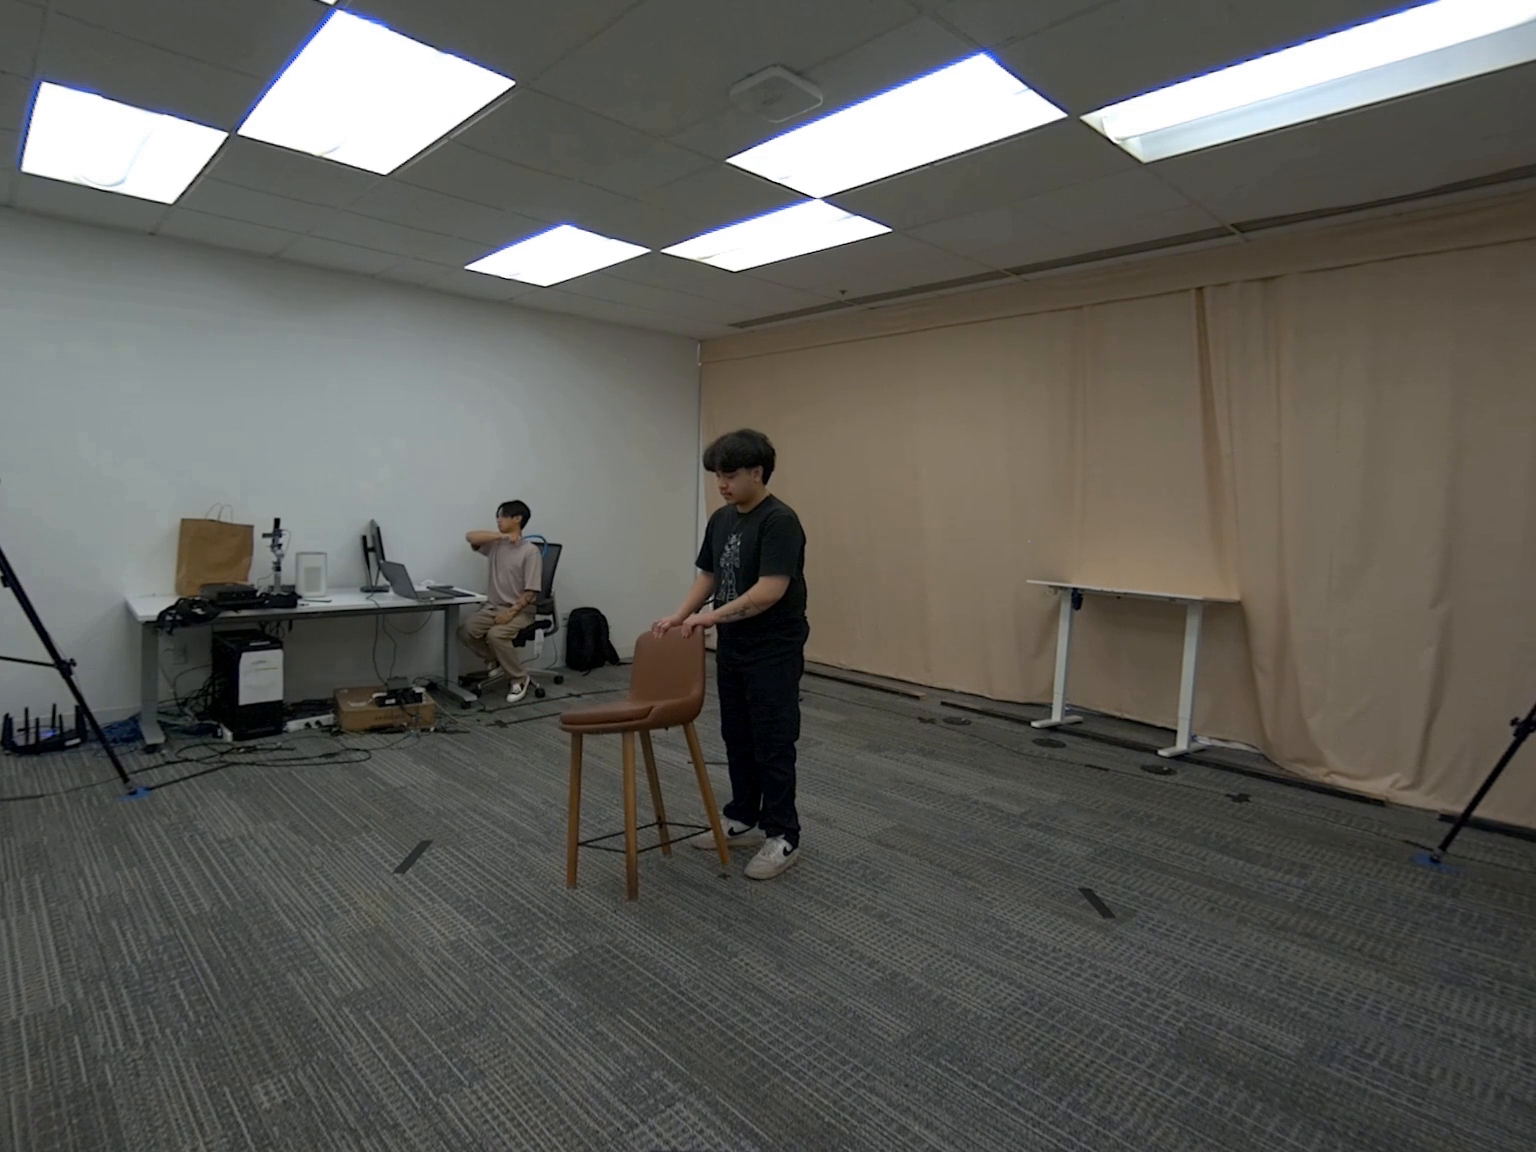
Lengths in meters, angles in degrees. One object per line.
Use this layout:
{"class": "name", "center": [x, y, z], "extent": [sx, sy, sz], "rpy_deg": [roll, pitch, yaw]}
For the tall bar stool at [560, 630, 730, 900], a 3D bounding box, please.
{"class": "tall bar stool", "center": [-0.467, 0.637, 3.047], "extent": [0.456, 0.895, 0.465], "rpy_deg": [2, -10, -44]}
